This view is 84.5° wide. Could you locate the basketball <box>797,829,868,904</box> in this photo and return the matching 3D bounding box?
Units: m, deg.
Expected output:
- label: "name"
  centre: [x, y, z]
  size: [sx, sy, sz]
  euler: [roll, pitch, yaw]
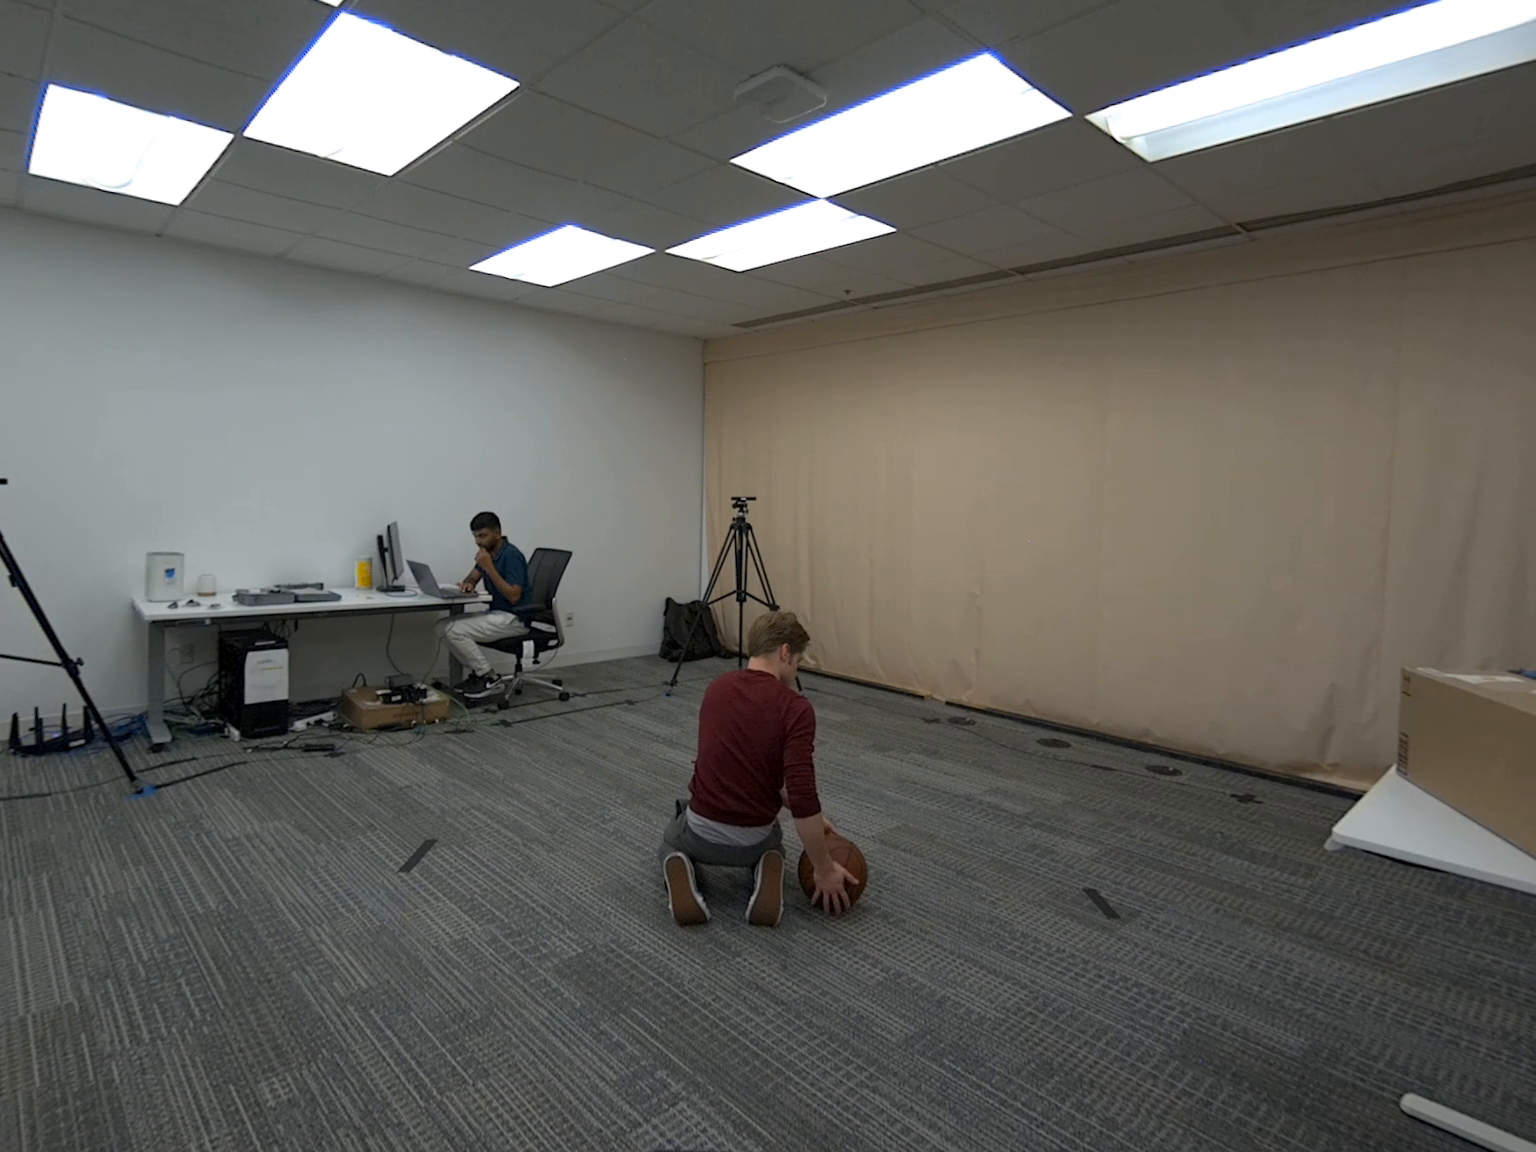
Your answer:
- label: "basketball"
  centre: [0.215, 1.009, 2.899]
  size: [0.236, 0.235, 0.237]
  euler: [1, 4, -1]
